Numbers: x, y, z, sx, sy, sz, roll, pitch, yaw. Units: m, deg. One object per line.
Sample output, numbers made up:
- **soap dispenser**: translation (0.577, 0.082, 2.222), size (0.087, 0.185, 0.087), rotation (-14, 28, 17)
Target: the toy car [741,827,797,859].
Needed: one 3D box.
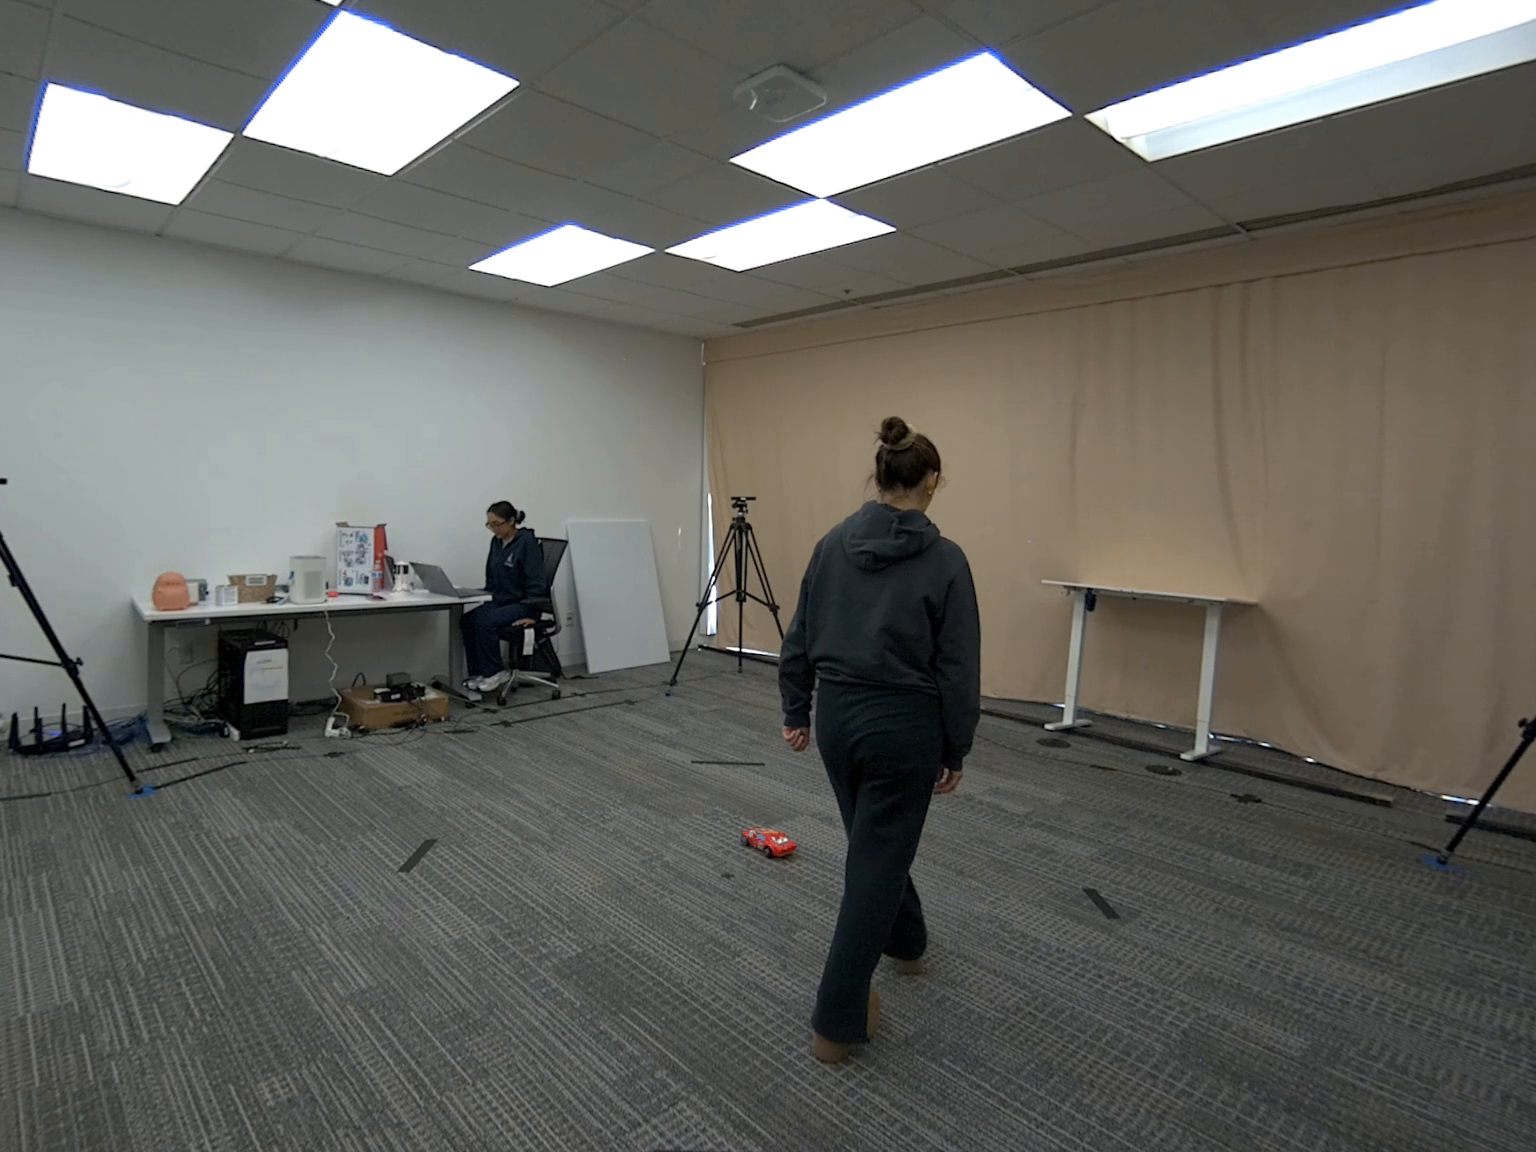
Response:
- **toy car**: translation (-0.001, 1.056, 3.355), size (0.127, 0.083, 0.259), rotation (-2, -5, -40)
